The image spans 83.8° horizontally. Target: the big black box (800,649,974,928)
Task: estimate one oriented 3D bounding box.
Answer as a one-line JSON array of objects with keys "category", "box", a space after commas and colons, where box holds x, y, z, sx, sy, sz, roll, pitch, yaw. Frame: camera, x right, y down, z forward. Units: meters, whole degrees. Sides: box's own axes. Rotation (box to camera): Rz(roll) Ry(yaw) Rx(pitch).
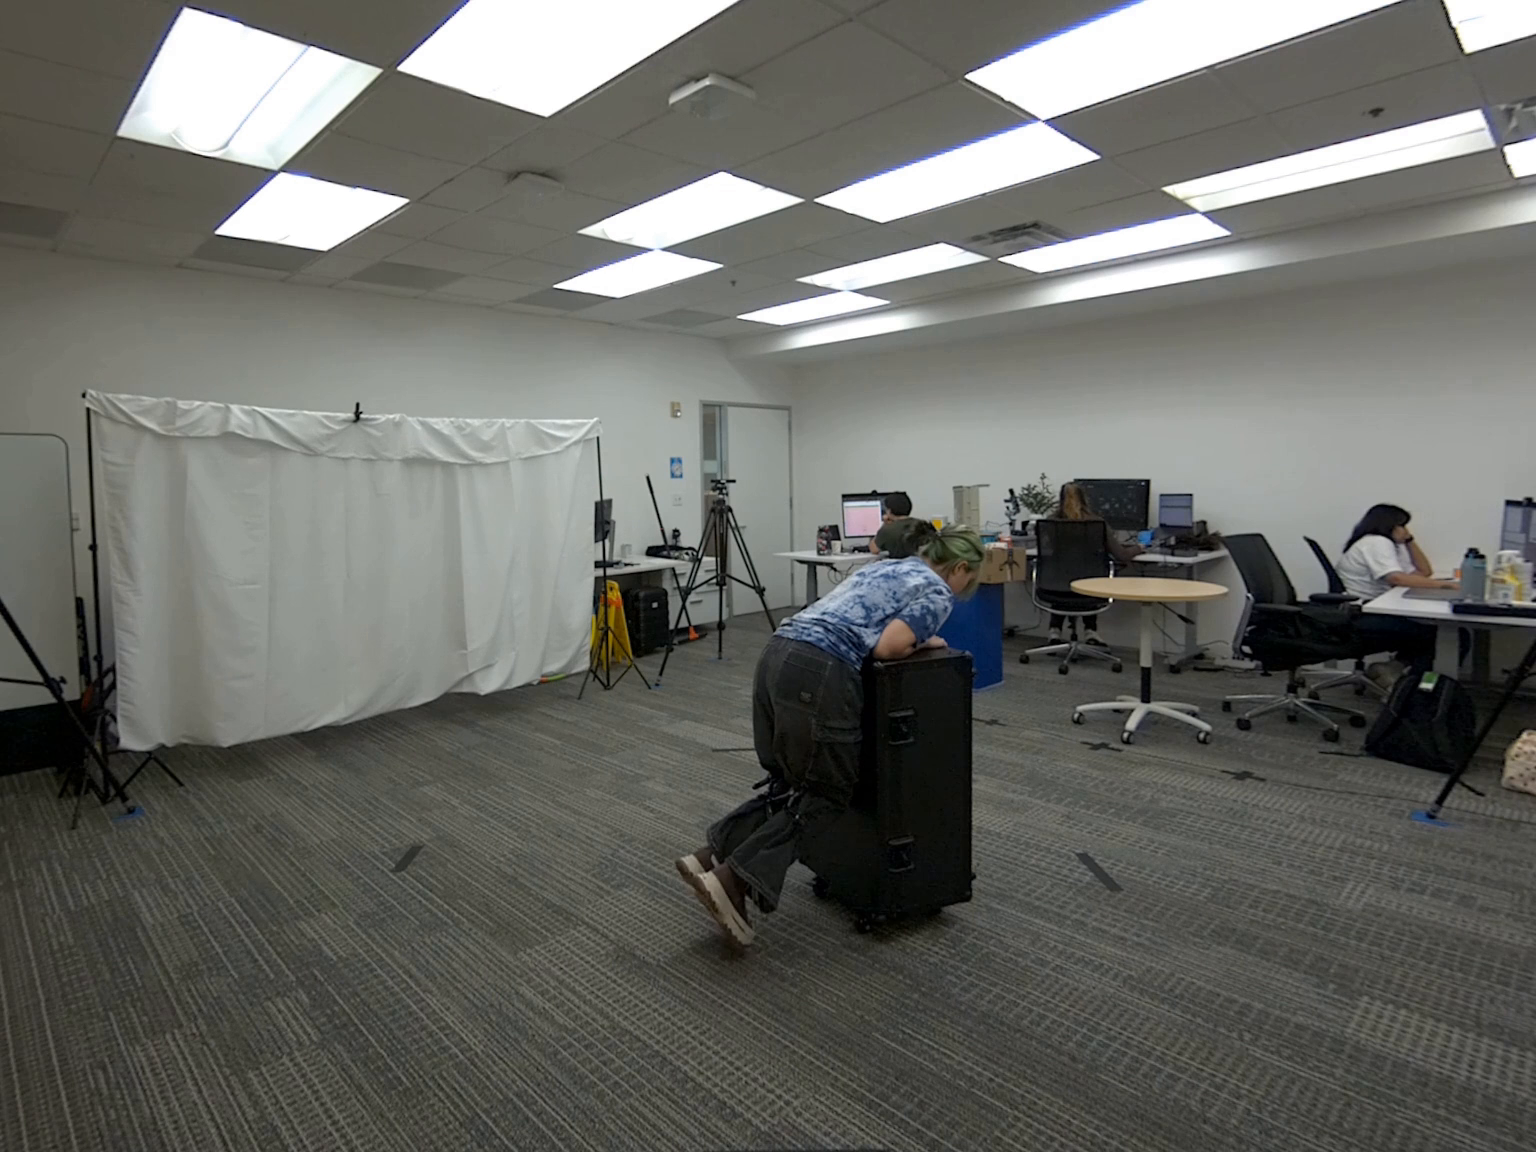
[{"category": "big black box", "box": [0.384, 0.598, 2.796, 0.388, 0.858, 0.534, -2, 4, -26]}]
